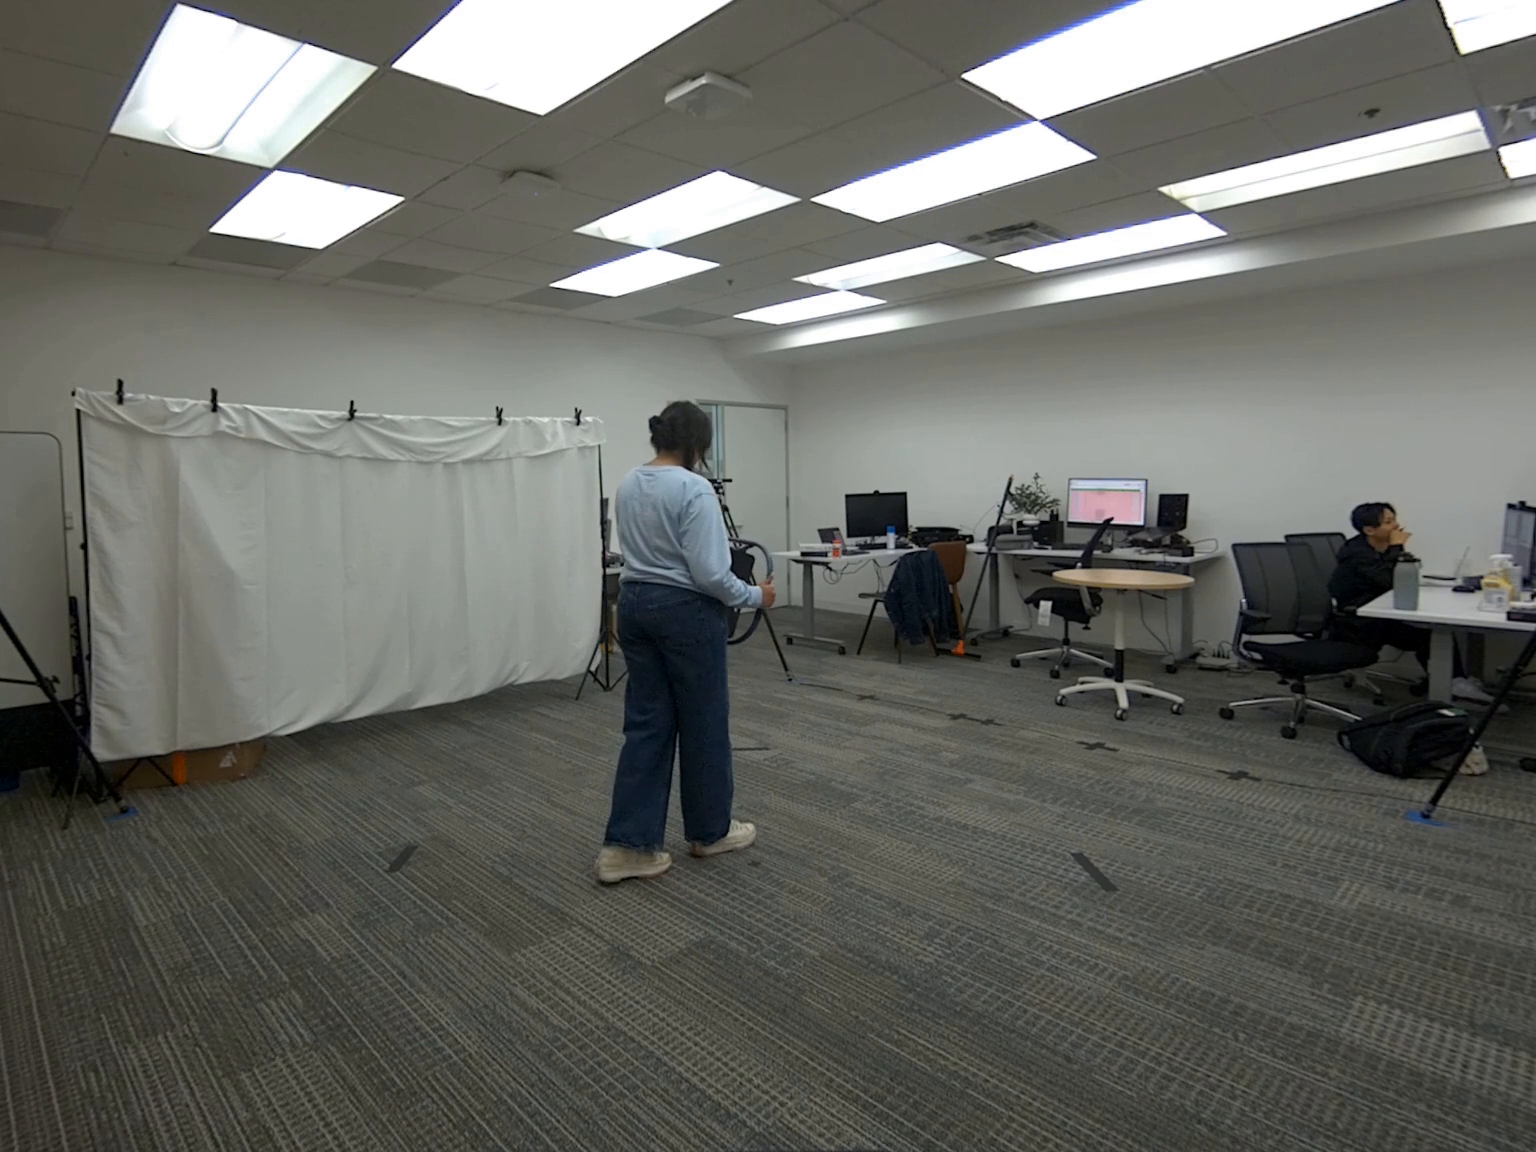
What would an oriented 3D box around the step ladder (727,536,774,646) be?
[{"bbox_3d":[-0.203,0.050,3.370,0.341,0.432,0.619,18,-5,-23],"label":"step ladder"}]
